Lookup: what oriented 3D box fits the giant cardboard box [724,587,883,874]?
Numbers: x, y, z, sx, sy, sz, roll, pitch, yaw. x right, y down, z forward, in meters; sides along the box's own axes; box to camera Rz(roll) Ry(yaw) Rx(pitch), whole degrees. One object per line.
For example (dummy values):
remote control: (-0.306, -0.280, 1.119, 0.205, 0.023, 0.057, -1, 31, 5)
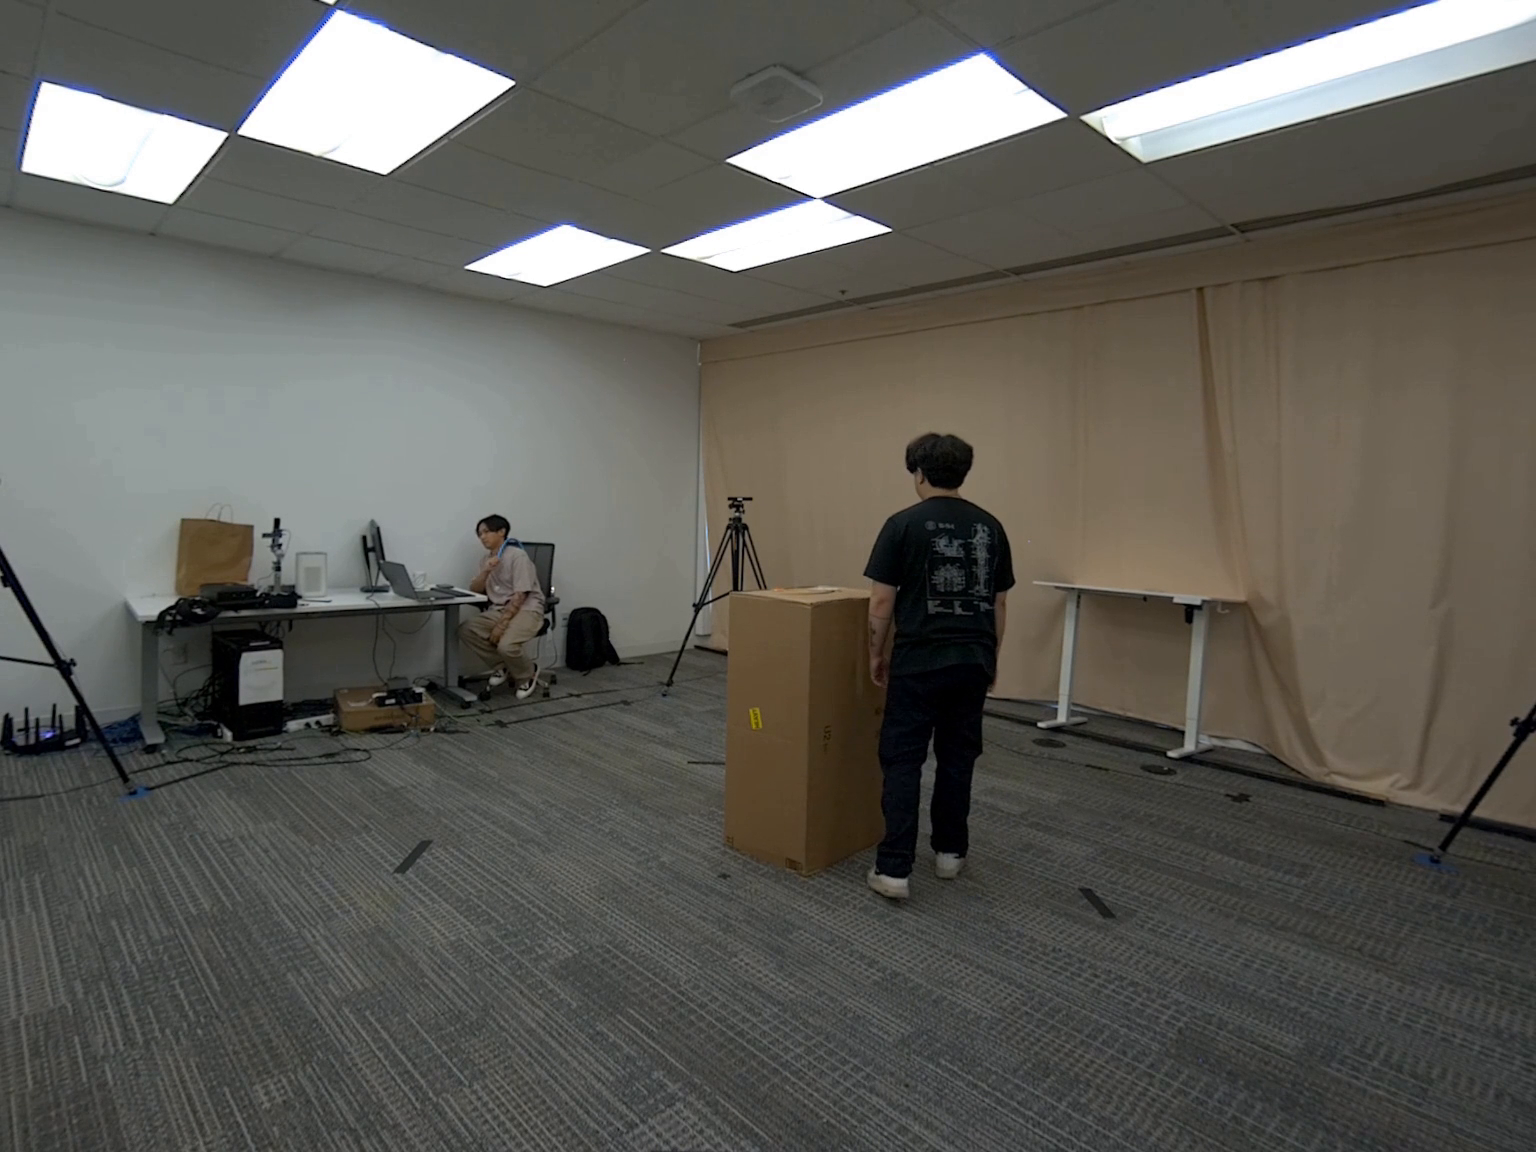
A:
giant cardboard box: (0.169, 0.577, 3.438, 0.458, 1.025, 0.570, 3, 4, 44)
